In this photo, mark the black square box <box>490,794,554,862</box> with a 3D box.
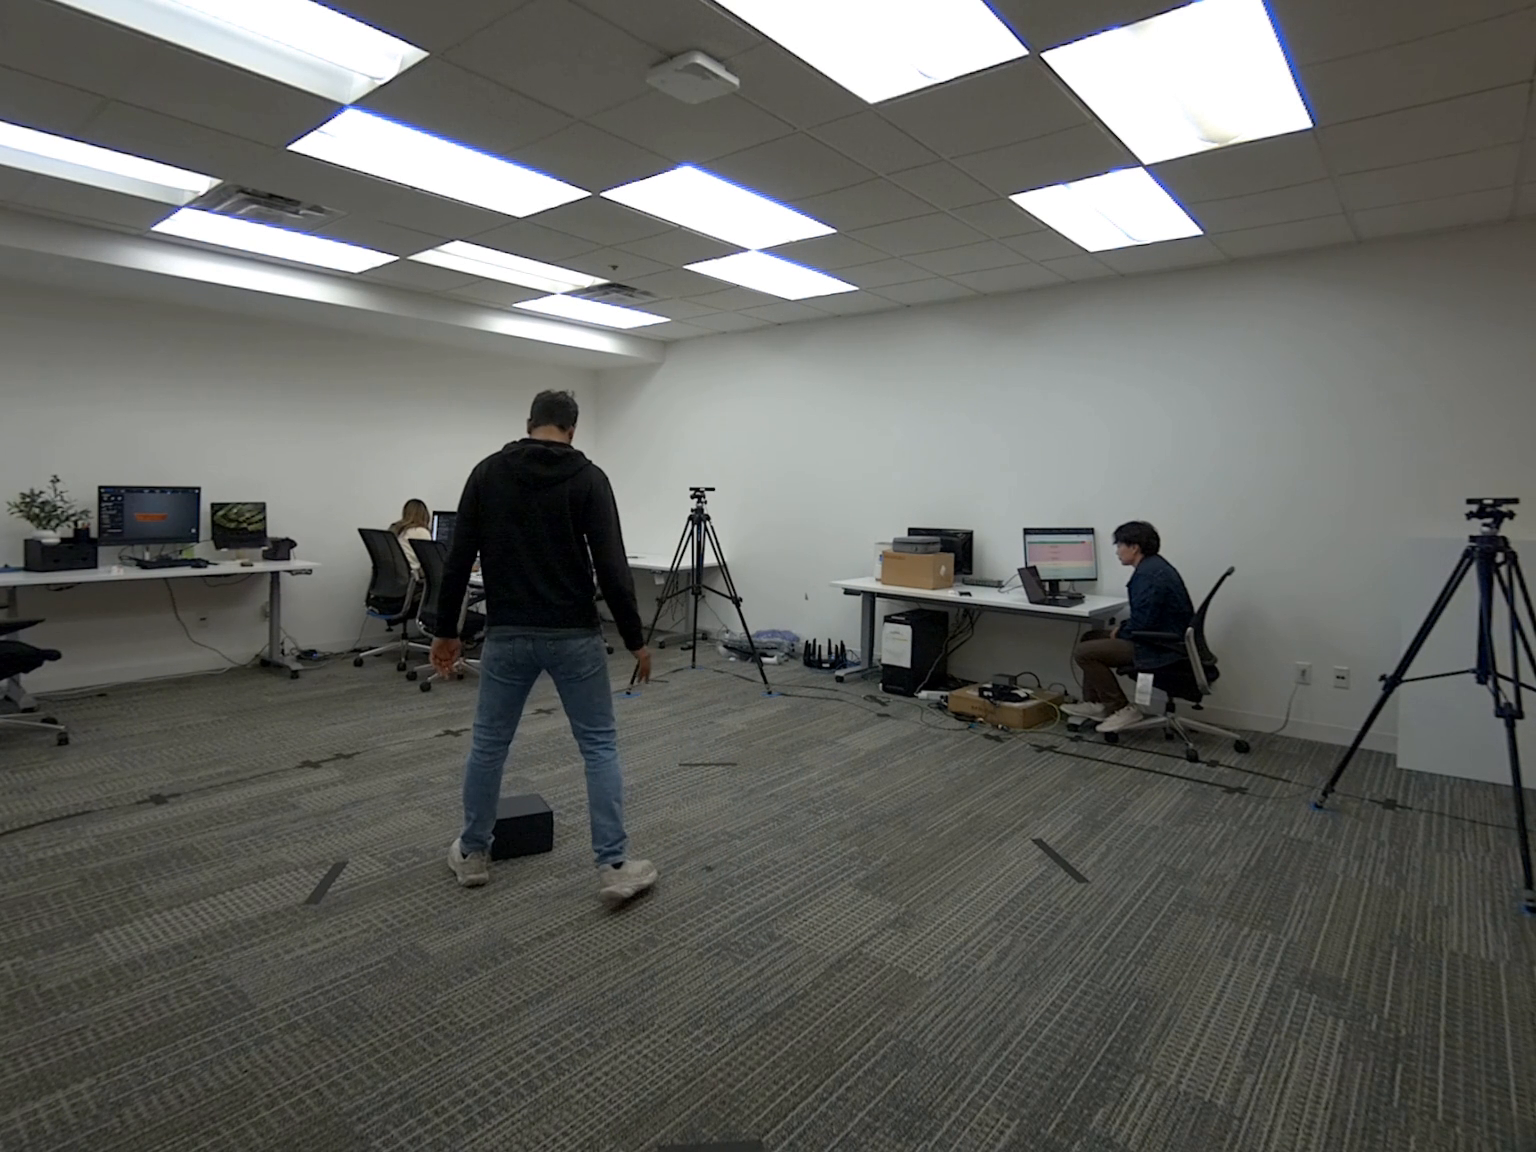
[{"bbox_3d":[-0.976,0.953,3.268,0.222,0.155,0.223,-1,5,-28],"label":"black square box"}]
